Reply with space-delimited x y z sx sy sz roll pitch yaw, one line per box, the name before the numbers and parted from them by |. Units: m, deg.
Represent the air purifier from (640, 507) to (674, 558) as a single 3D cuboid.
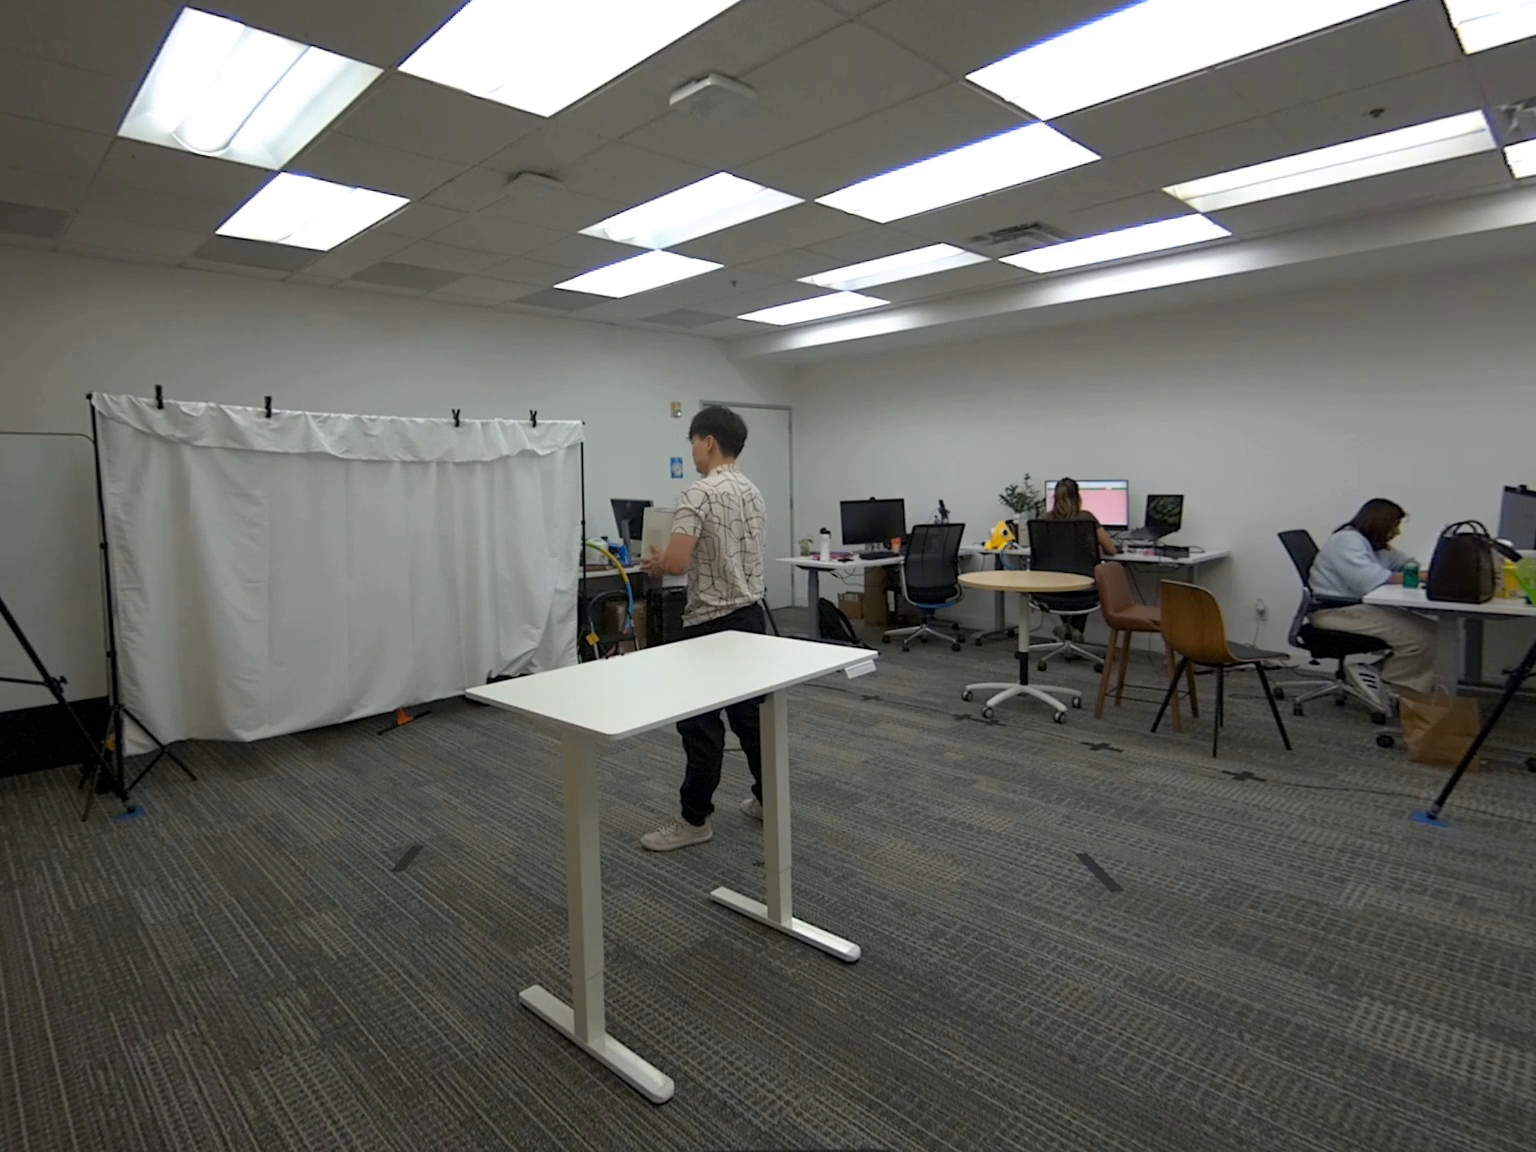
air purifier | -0.411 -0.142 3.503 0.176 0.264 0.167 9 9 30
